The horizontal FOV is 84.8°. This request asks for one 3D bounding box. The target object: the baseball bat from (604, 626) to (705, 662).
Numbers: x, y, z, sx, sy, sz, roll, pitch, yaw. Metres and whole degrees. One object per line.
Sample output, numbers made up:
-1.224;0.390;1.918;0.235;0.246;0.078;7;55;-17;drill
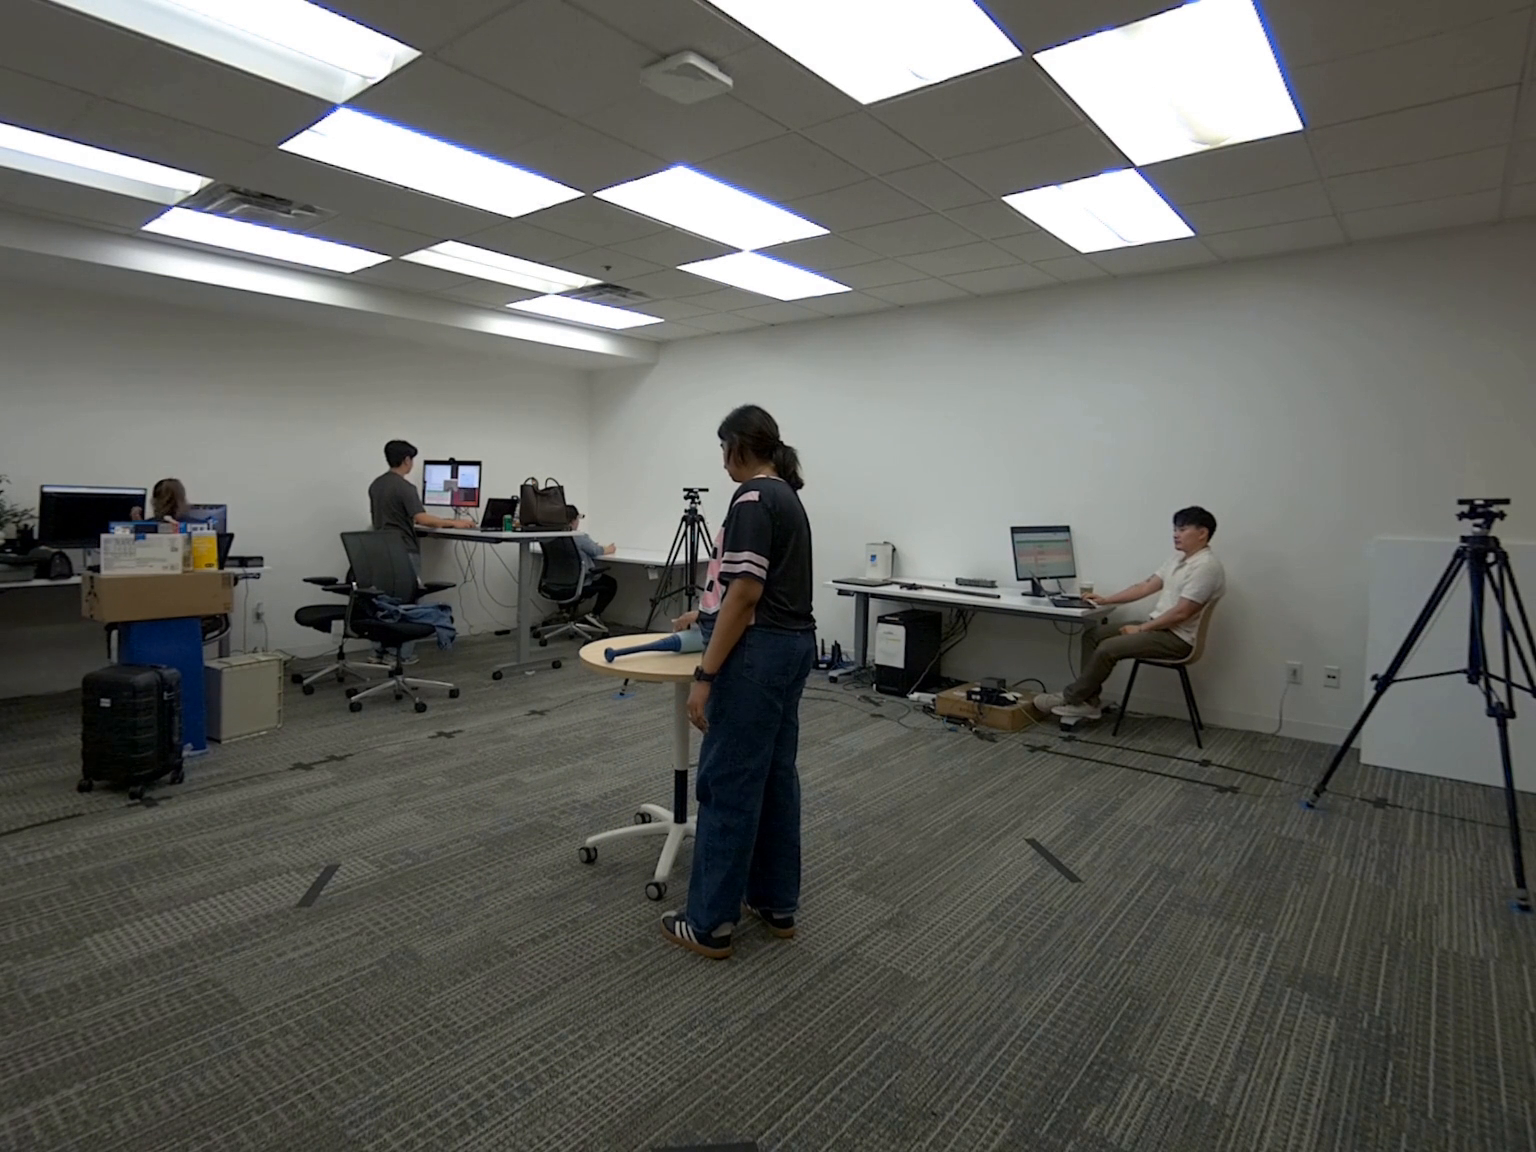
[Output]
-0.368;0.249;3.098;0.528;0.088;0.092;-7;8;-36;baseball bat
